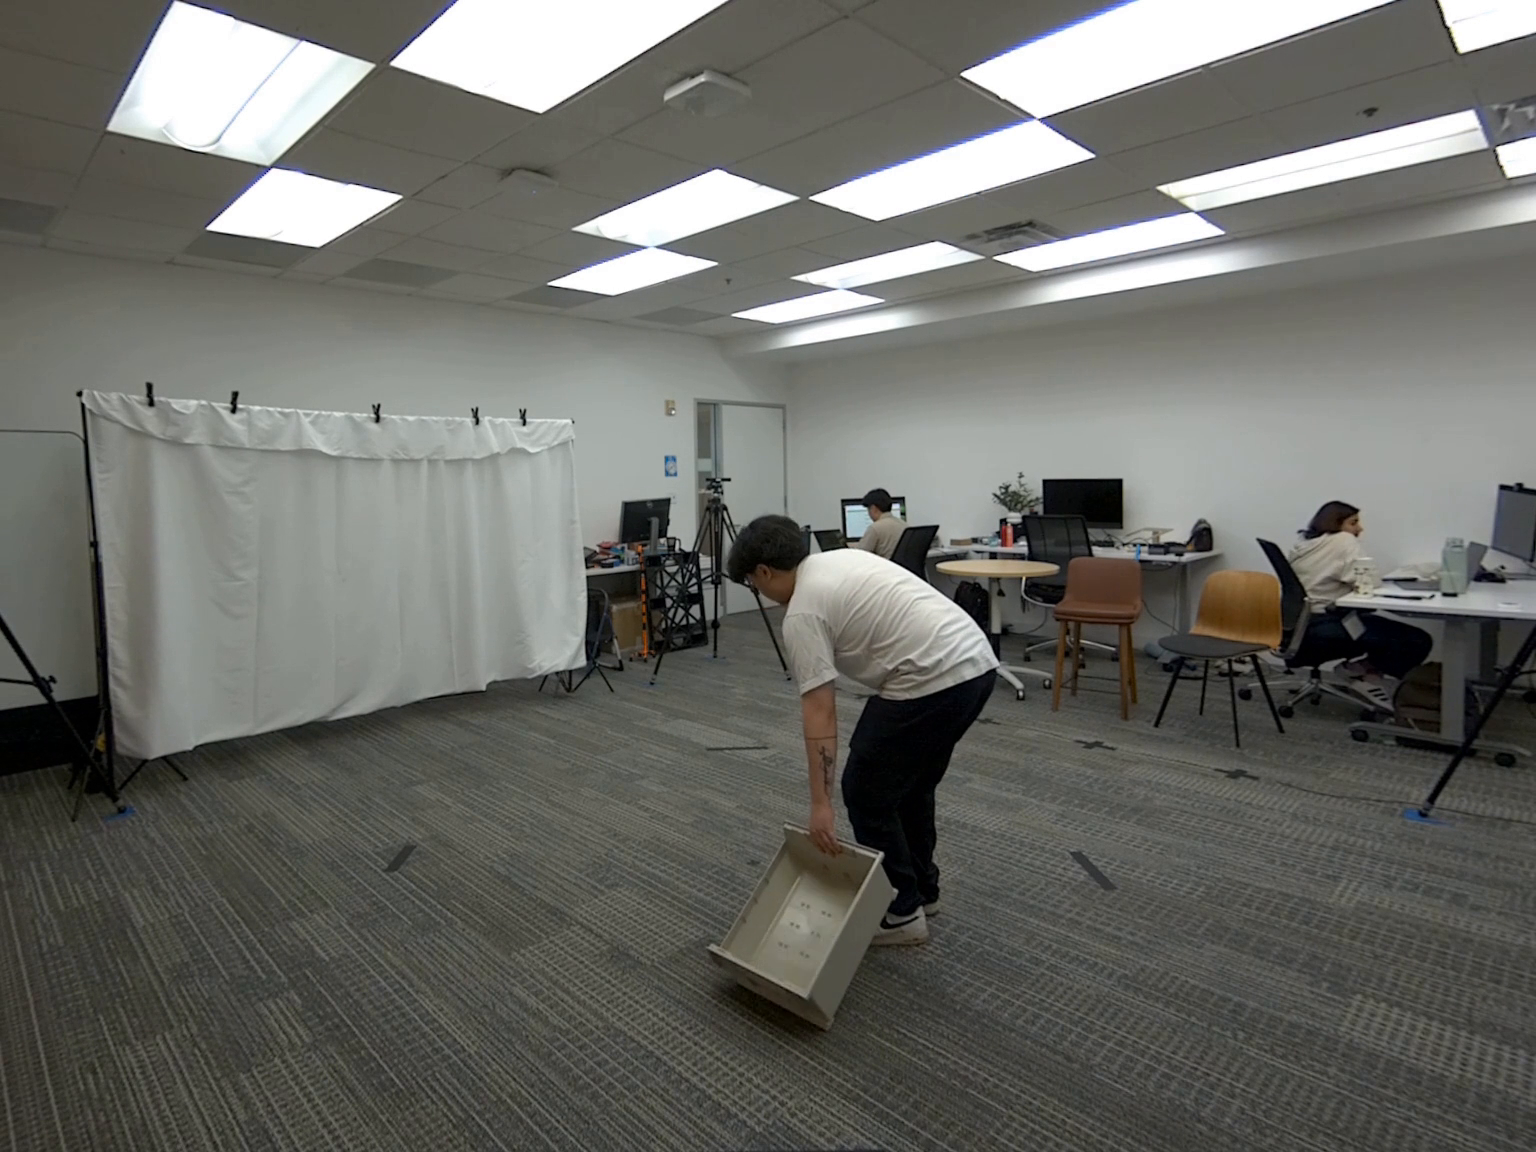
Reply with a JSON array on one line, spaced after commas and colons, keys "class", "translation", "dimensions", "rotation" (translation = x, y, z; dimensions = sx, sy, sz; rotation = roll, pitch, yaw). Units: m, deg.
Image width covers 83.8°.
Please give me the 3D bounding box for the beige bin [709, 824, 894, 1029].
[{"class": "beige bin", "translation": [0.097, 0.940, 2.344], "dimensions": [0.389, 0.183, 0.423], "rotation": [5, 43, 41]}]
